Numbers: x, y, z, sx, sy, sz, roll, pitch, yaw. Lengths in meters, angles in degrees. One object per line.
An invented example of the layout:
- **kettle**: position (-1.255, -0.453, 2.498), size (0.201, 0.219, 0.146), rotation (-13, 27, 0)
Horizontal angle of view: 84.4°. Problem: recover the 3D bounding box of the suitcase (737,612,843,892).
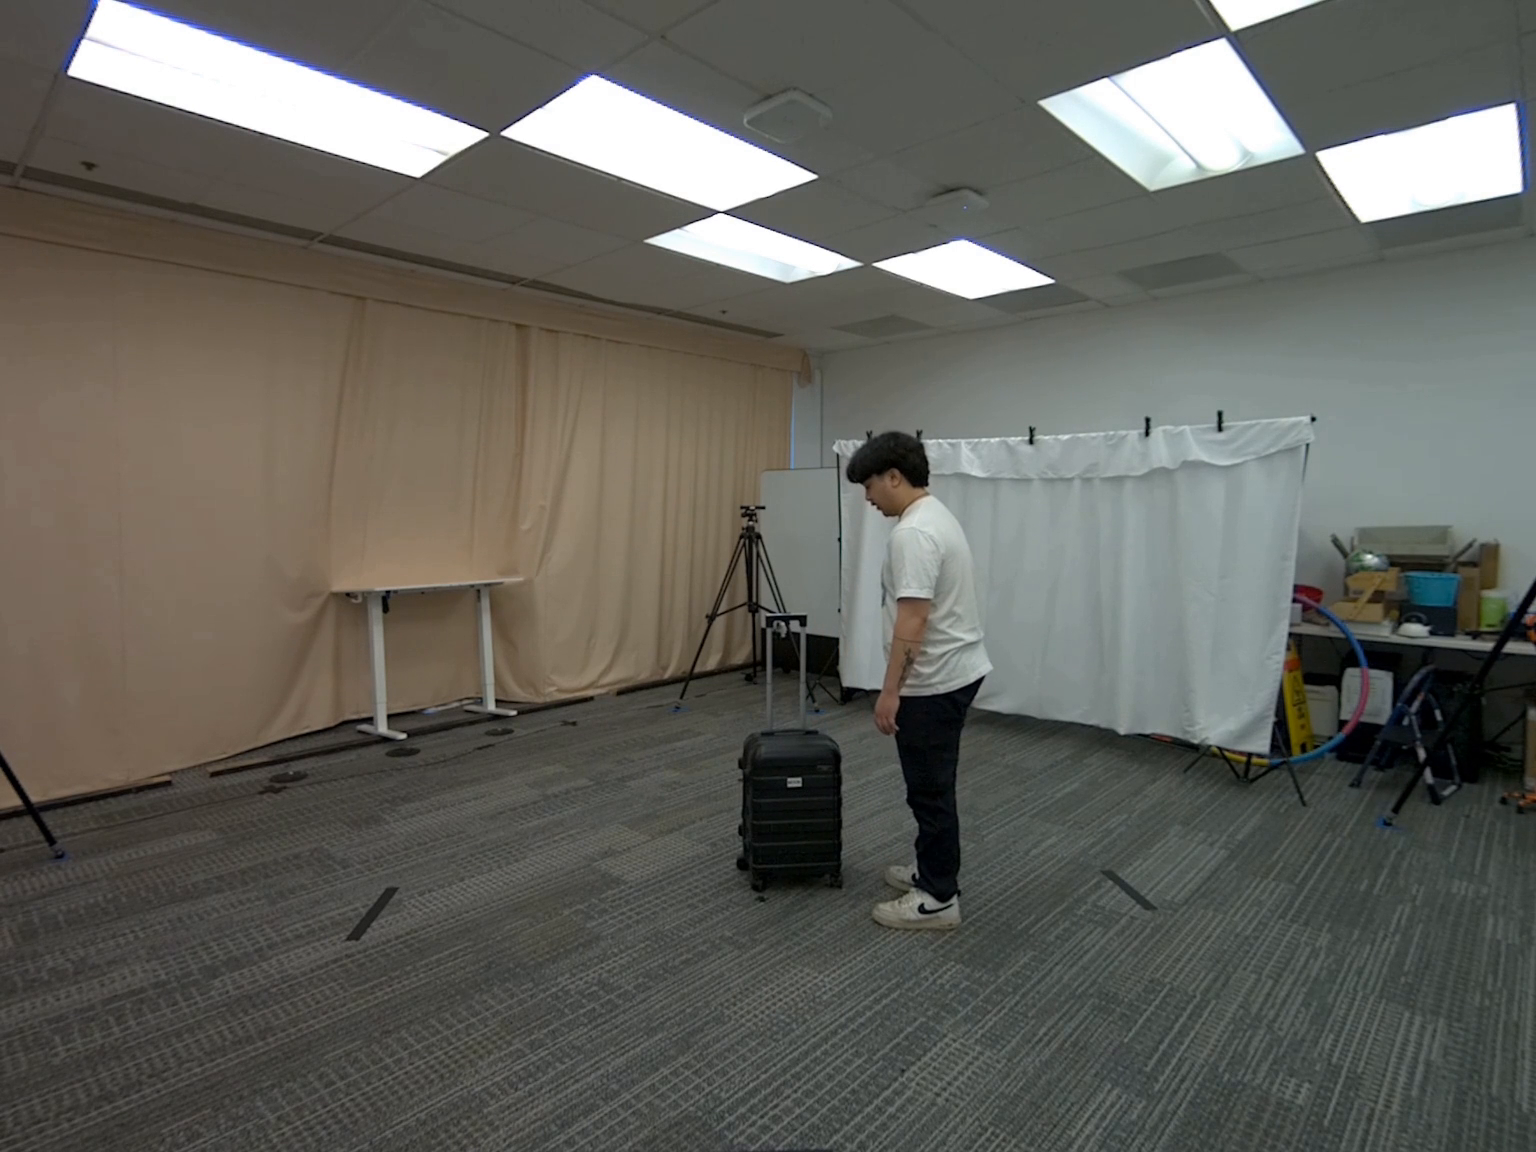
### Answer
- **suitcase**: position (0.093, 0.655, 3.122), size (0.382, 0.975, 0.259), rotation (0, 6, -6)
